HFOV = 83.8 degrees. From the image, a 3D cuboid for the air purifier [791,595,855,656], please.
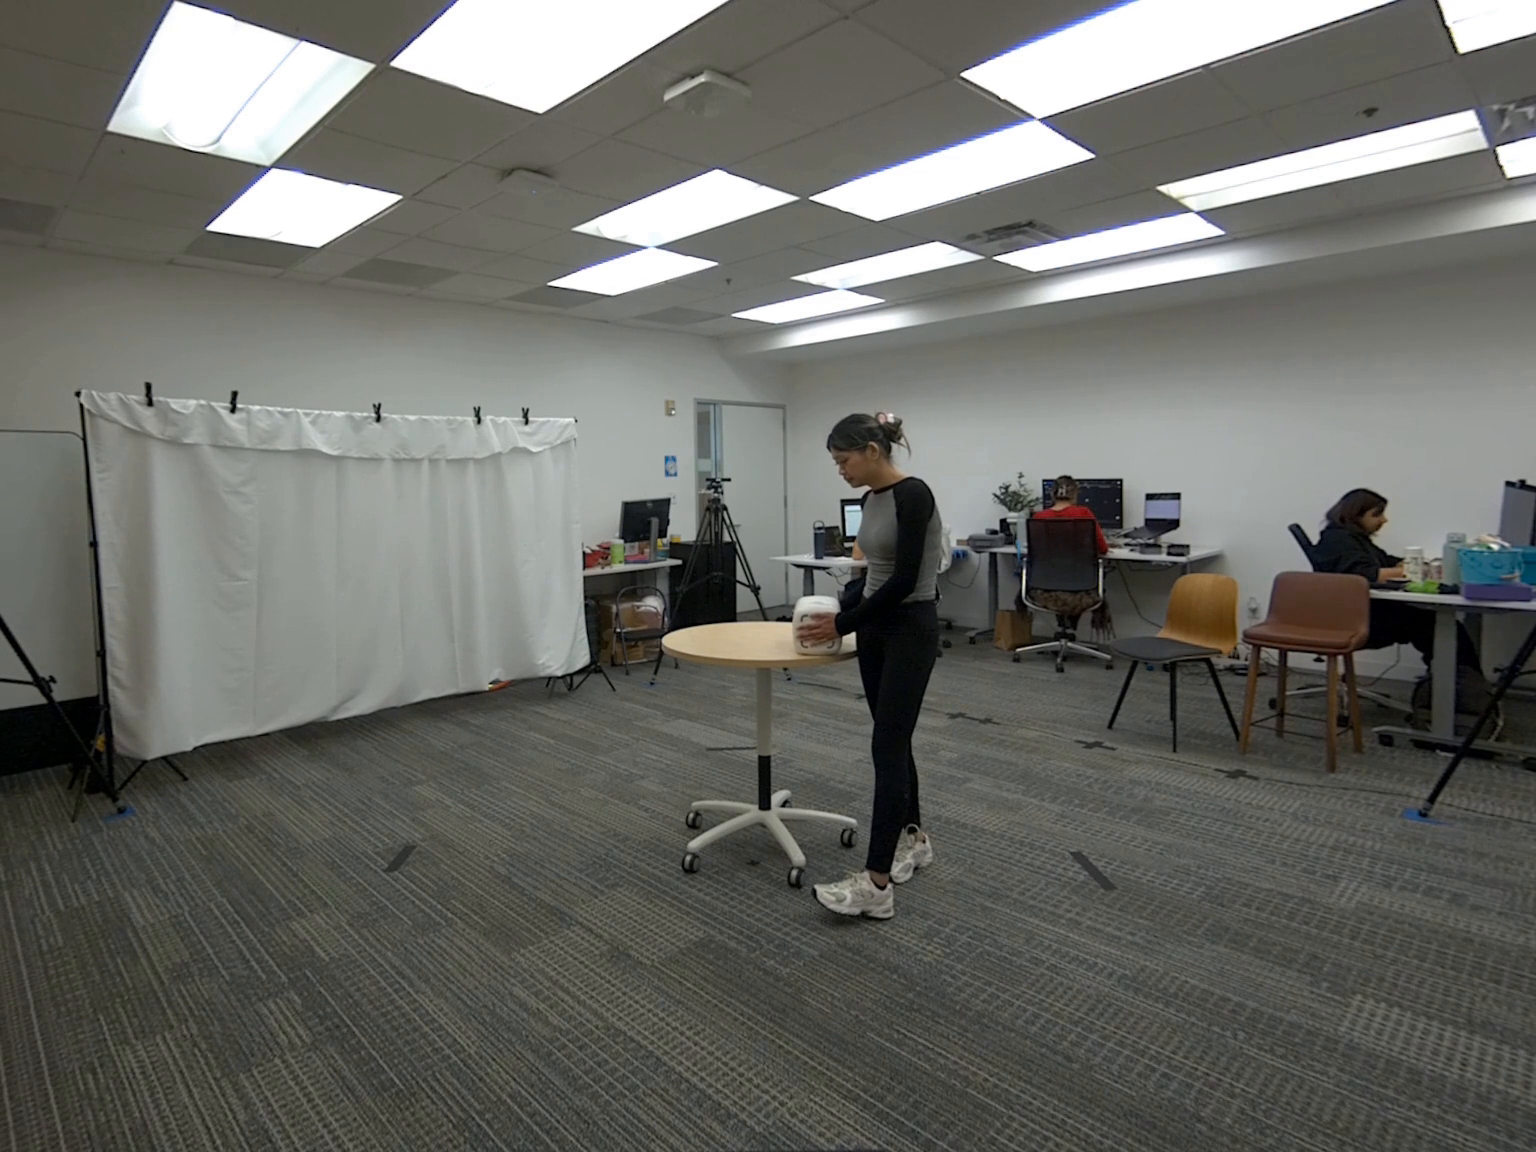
[{"bbox_3d":[0.179,0.171,3.007,0.172,0.171,0.265,3,7,3],"label":"air purifier"}]
